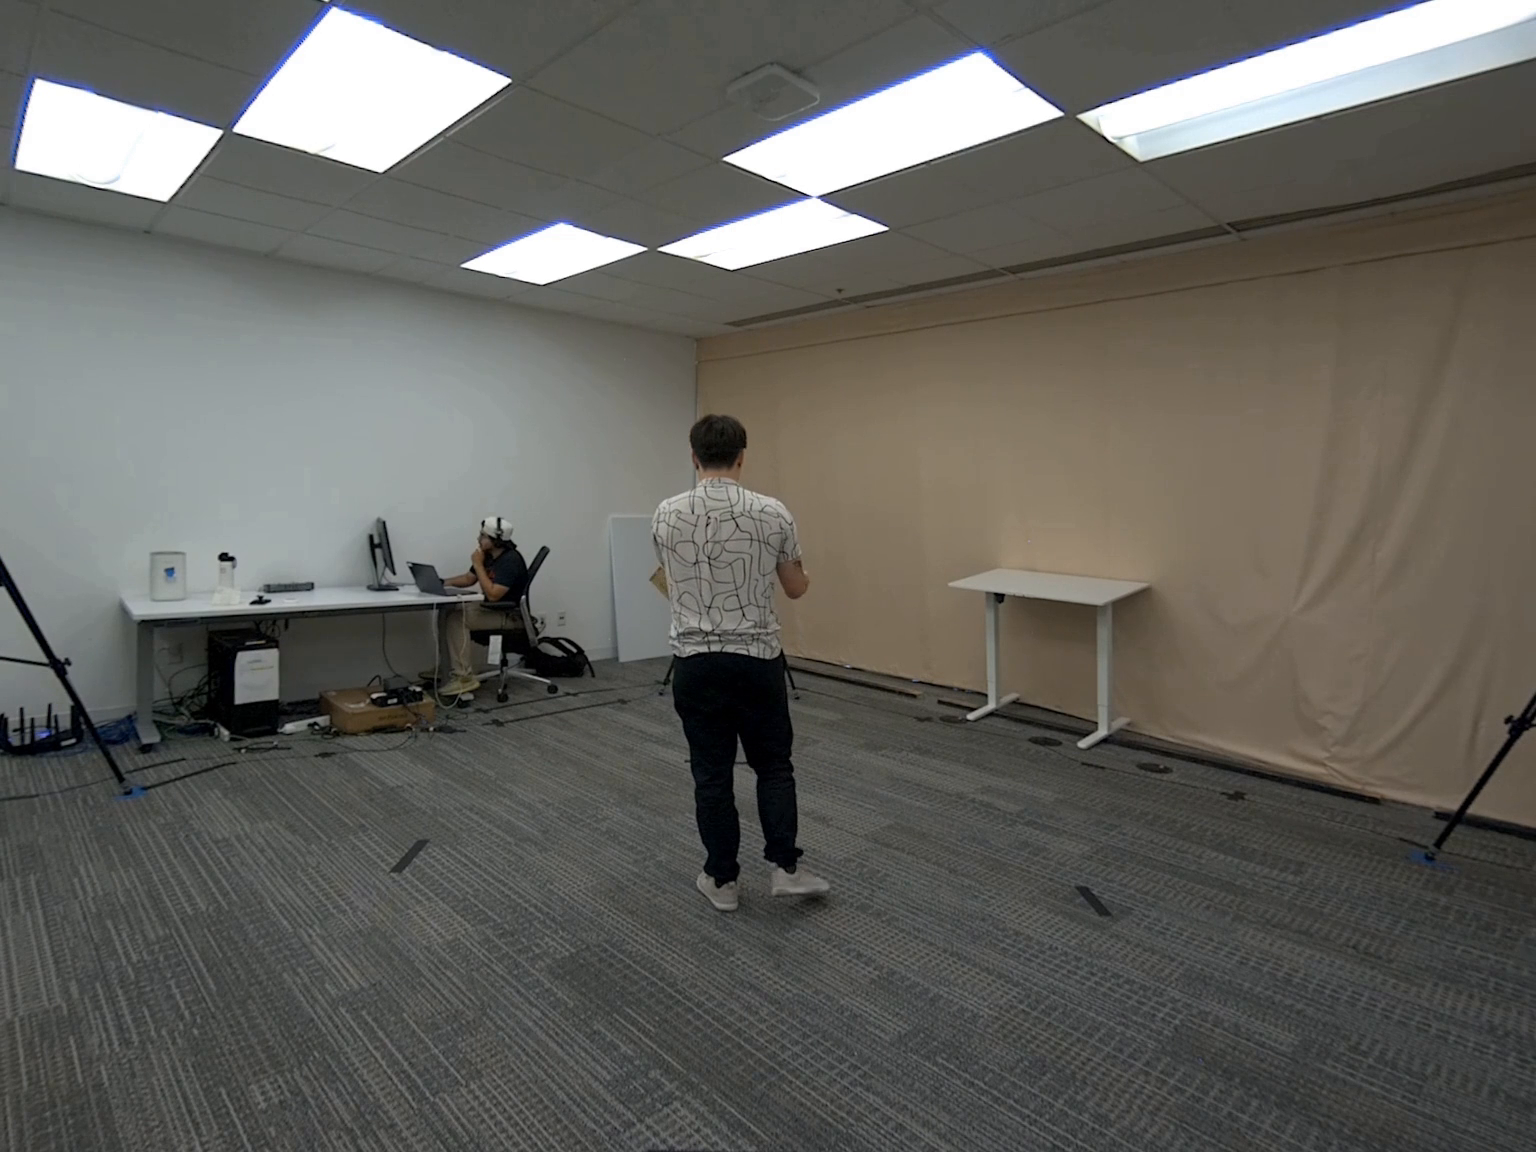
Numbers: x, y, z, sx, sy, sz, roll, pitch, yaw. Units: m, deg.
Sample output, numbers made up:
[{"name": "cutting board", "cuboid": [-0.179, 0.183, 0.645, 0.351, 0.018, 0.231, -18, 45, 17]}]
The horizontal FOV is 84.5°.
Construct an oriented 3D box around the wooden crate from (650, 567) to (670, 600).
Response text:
[{"name": "wooden crate", "cuboid": [-0.236, -0.005, 3.397, 0.273, 0.327, 0.300, -48, -7, 33]}]
